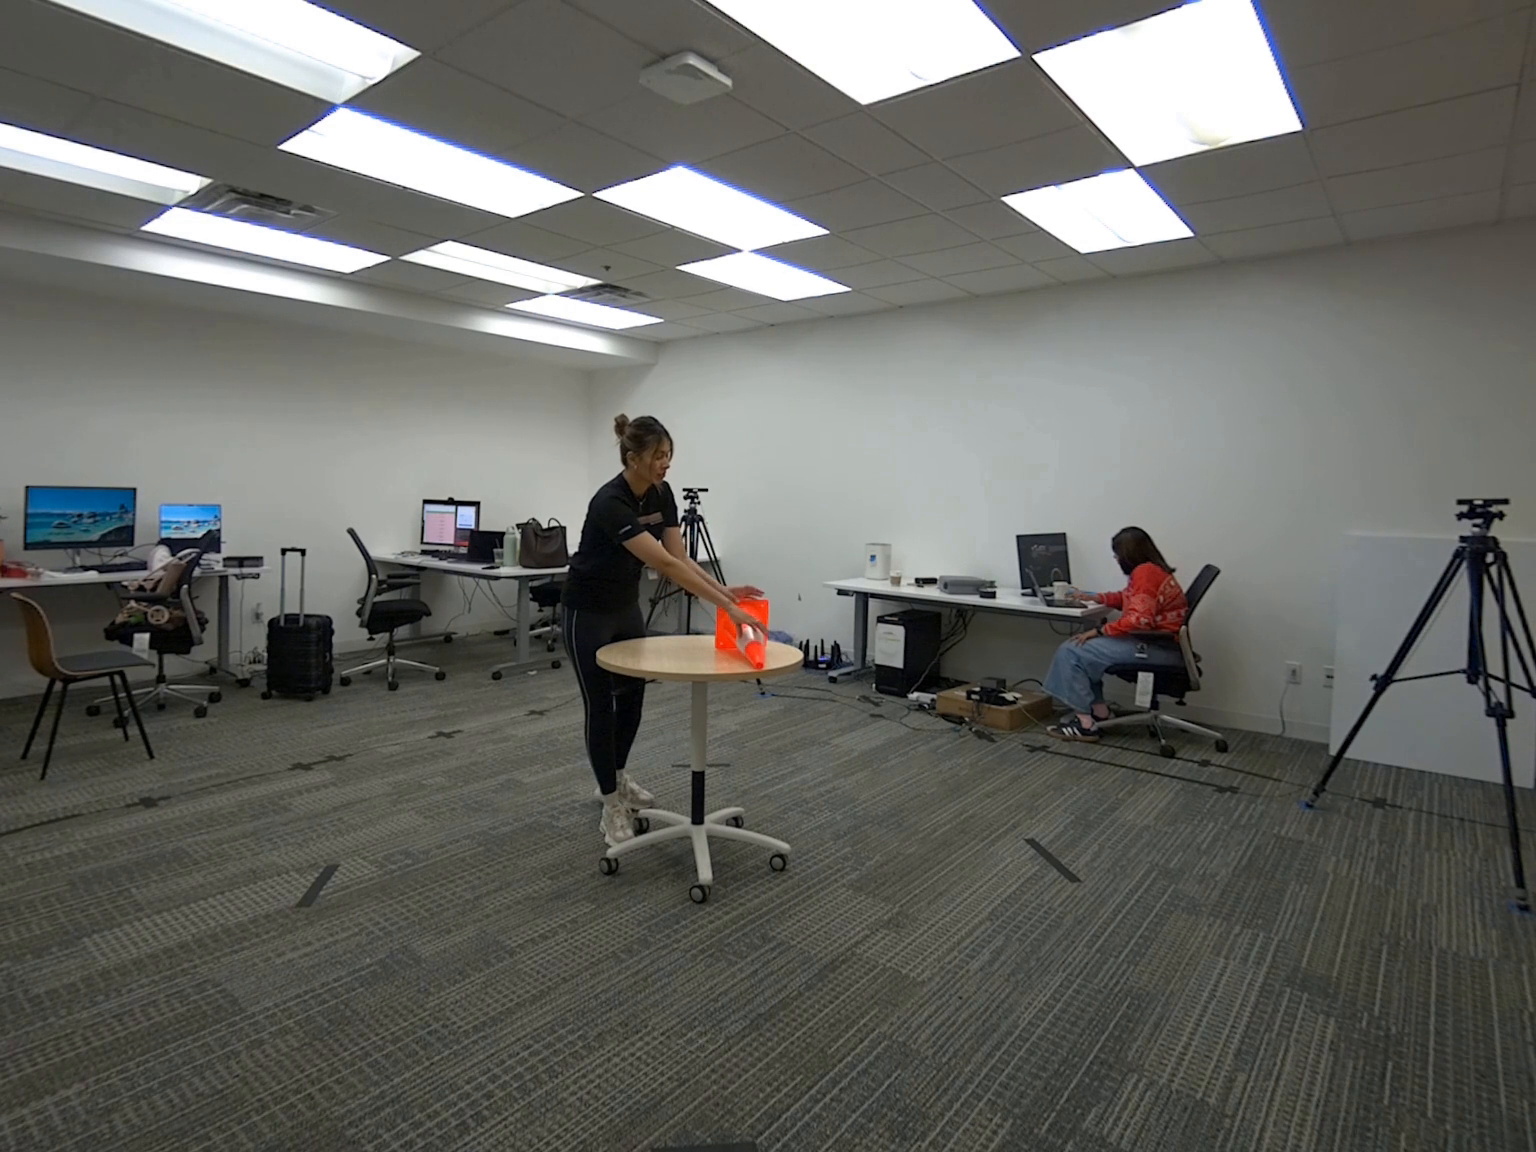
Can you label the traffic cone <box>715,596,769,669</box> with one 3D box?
[{"bbox_3d":[-0.071,0.231,3.027,0.203,0.201,0.391,1,15,-8],"label":"traffic cone"}]
